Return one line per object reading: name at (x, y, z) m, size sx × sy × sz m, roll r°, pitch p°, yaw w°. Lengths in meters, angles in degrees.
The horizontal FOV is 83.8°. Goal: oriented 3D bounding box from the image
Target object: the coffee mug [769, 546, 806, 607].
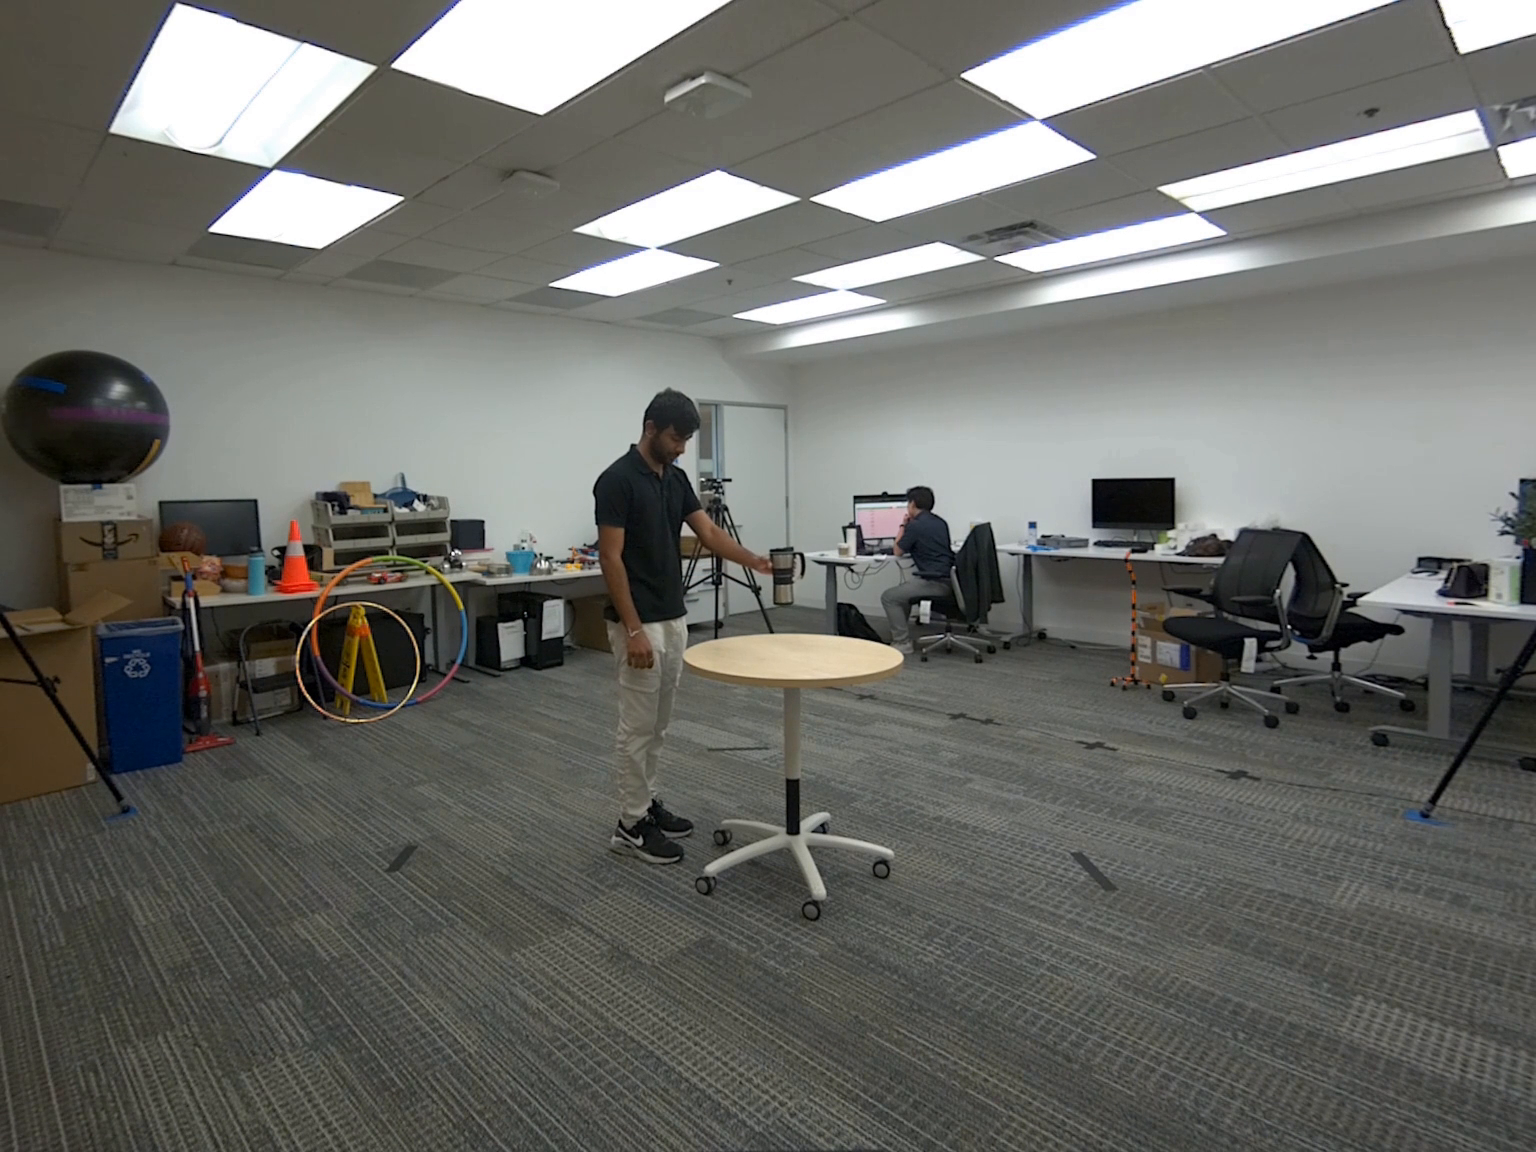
coffee mug at (0.065, 0.003, 2.996) m, size 0.124 × 0.203 × 0.086 m, roll -4°, pitch 1°, yaw 25°
